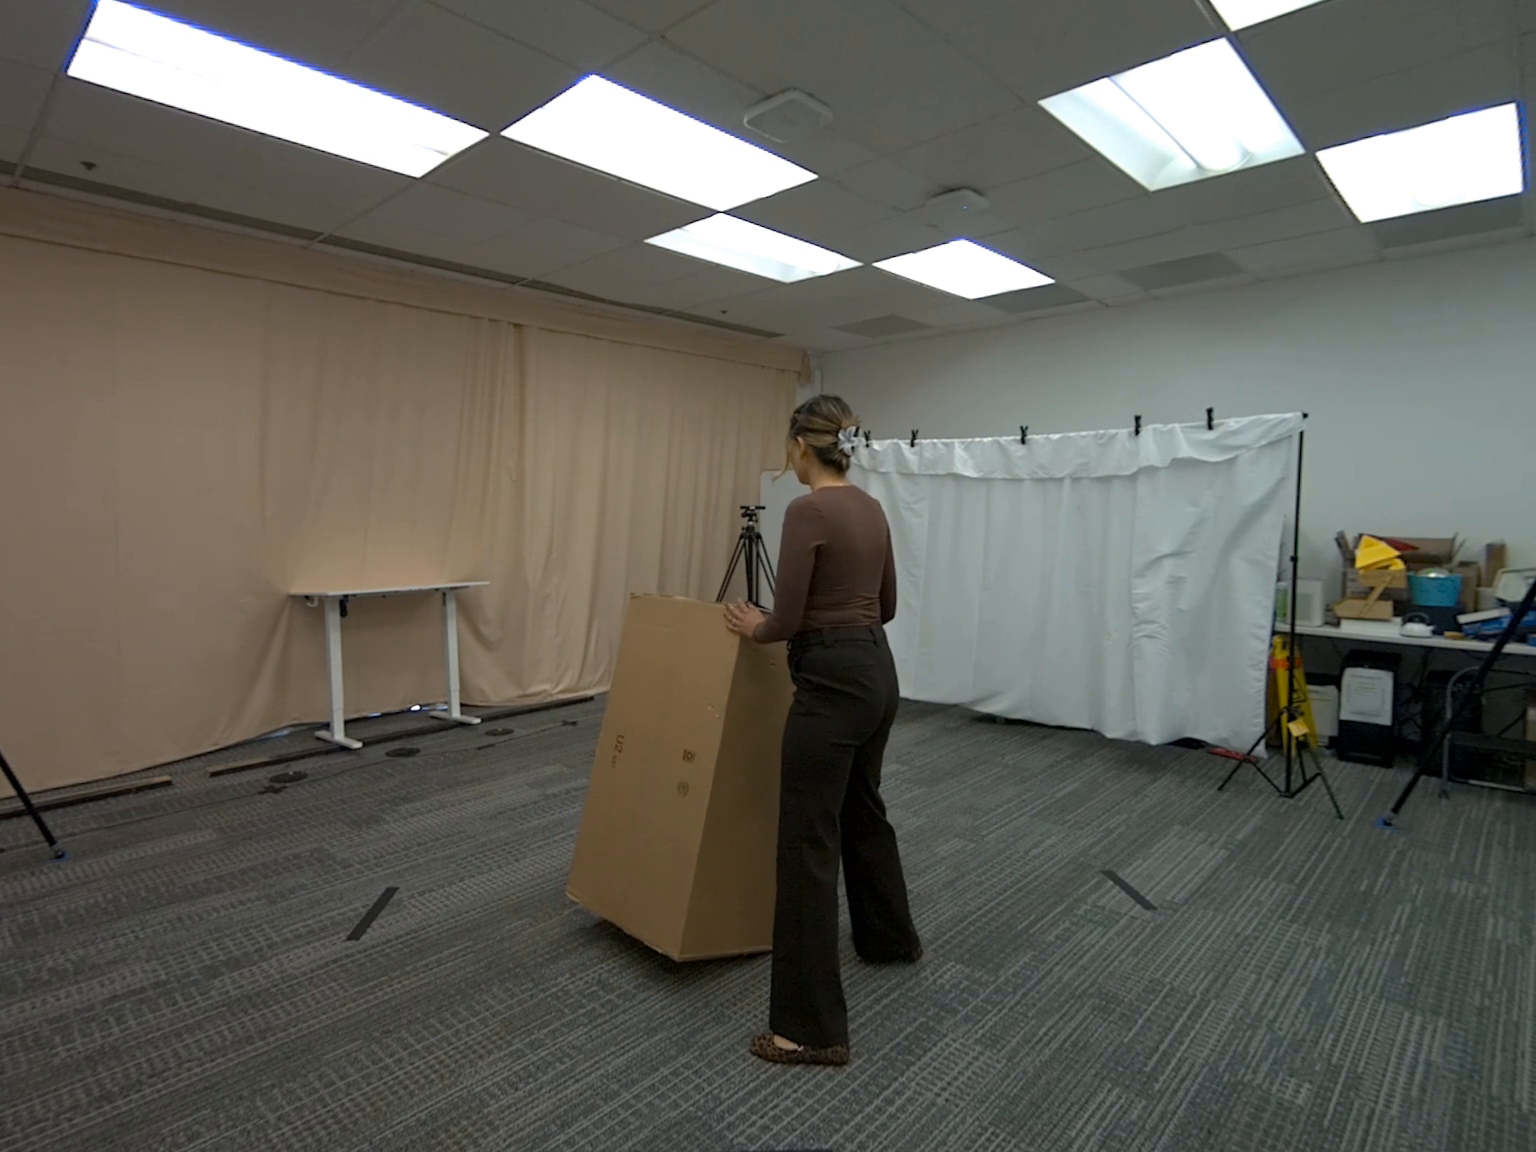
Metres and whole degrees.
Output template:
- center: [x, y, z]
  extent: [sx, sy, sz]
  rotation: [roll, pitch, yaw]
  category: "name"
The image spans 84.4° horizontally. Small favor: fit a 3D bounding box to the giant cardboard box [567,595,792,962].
- center: [-0.217, 0.615, 2.782]
  extent: [0.431, 1.030, 0.603]
  rotation: [20, -12, -42]
  category: "giant cardboard box"
